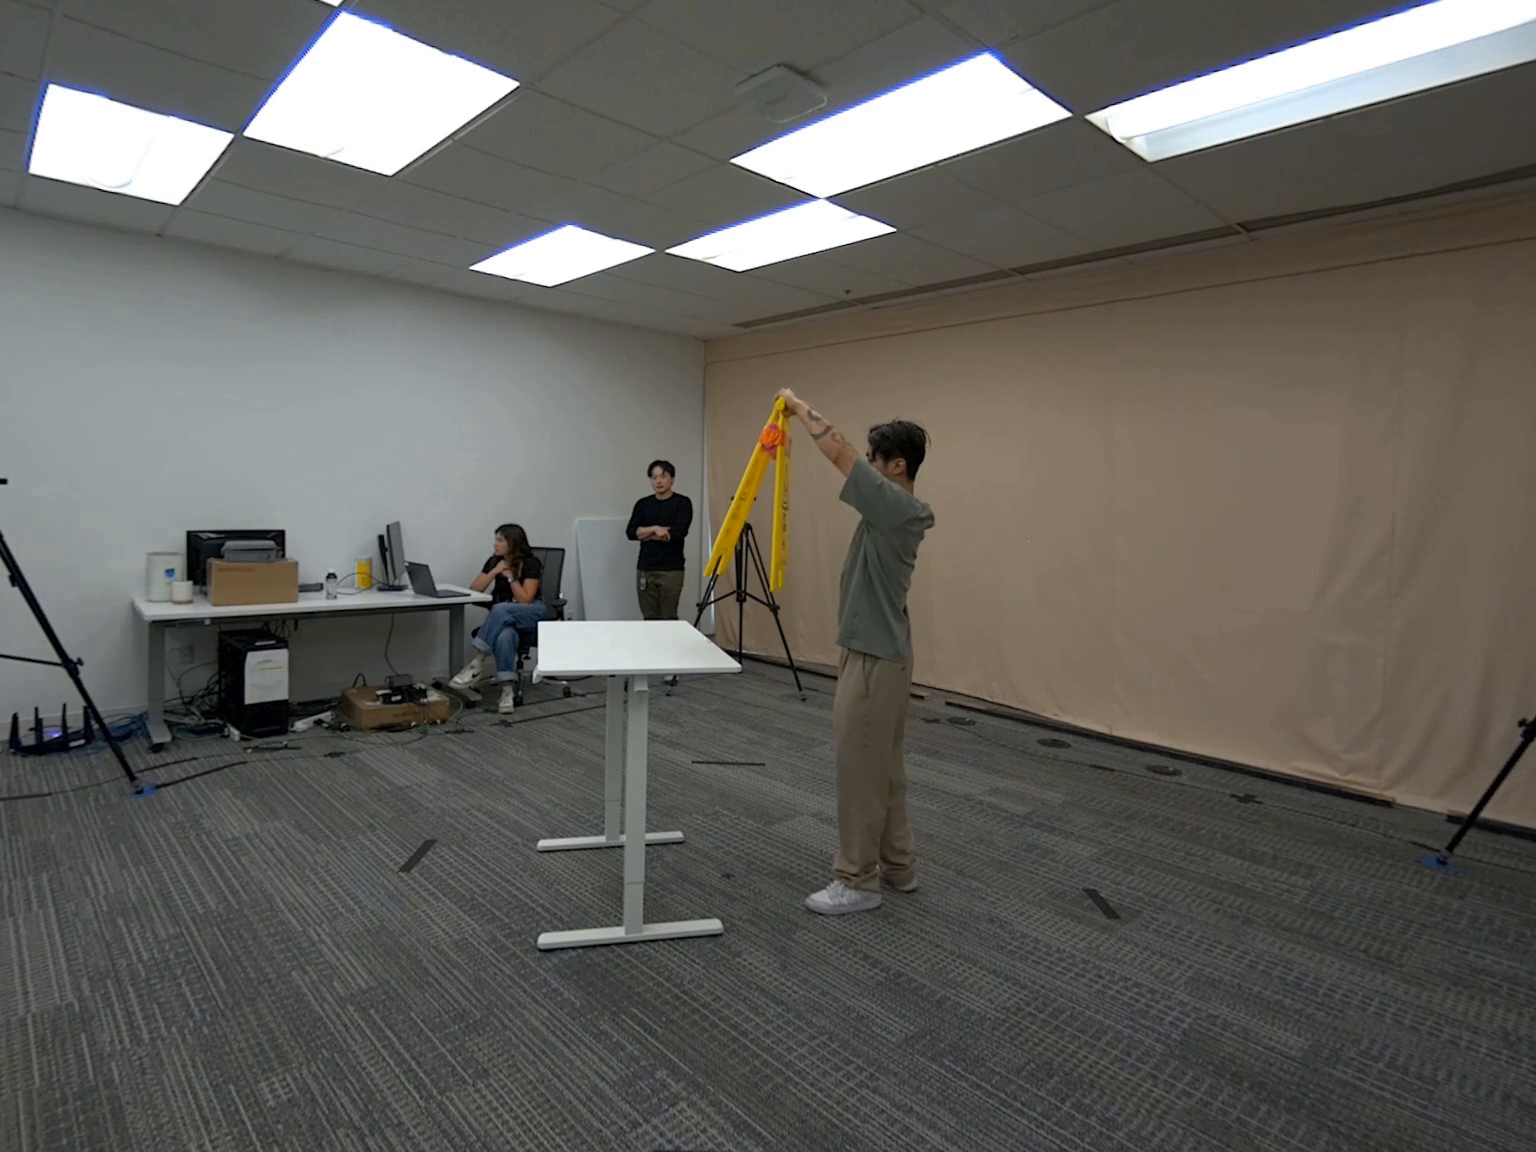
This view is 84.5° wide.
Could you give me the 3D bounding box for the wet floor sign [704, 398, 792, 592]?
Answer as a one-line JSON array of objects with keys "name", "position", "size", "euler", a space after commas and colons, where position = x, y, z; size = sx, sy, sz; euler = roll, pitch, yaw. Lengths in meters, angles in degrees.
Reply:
[{"name": "wet floor sign", "position": [-0.010, -0.286, 2.951], "size": [0.292, 0.646, 0.280], "euler": [10, 0, 8]}]
